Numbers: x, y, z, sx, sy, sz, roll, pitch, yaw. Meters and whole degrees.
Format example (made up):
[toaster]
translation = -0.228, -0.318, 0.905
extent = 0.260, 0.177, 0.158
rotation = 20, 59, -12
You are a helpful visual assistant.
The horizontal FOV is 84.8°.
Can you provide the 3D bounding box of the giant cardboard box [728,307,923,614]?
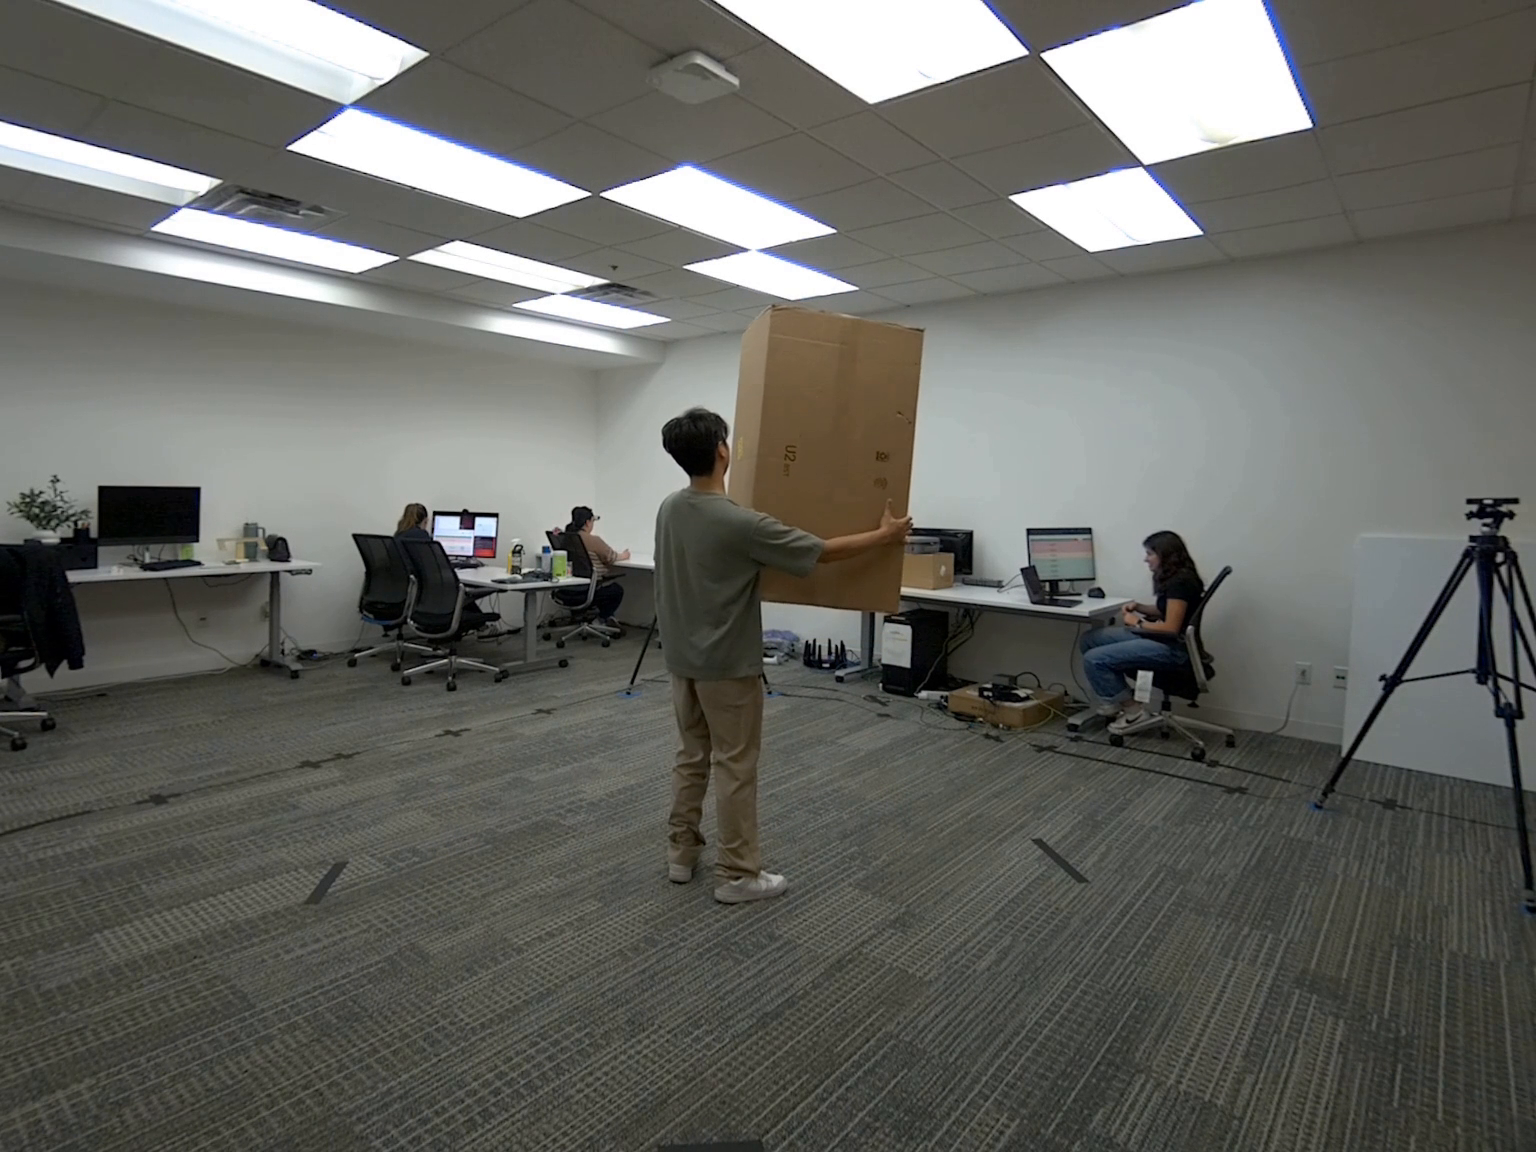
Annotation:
[giant cardboard box]
translation = 0.179, -0.418, 3.161
extent = 0.569, 1.026, 0.433
rotation = 6, 0, -14
